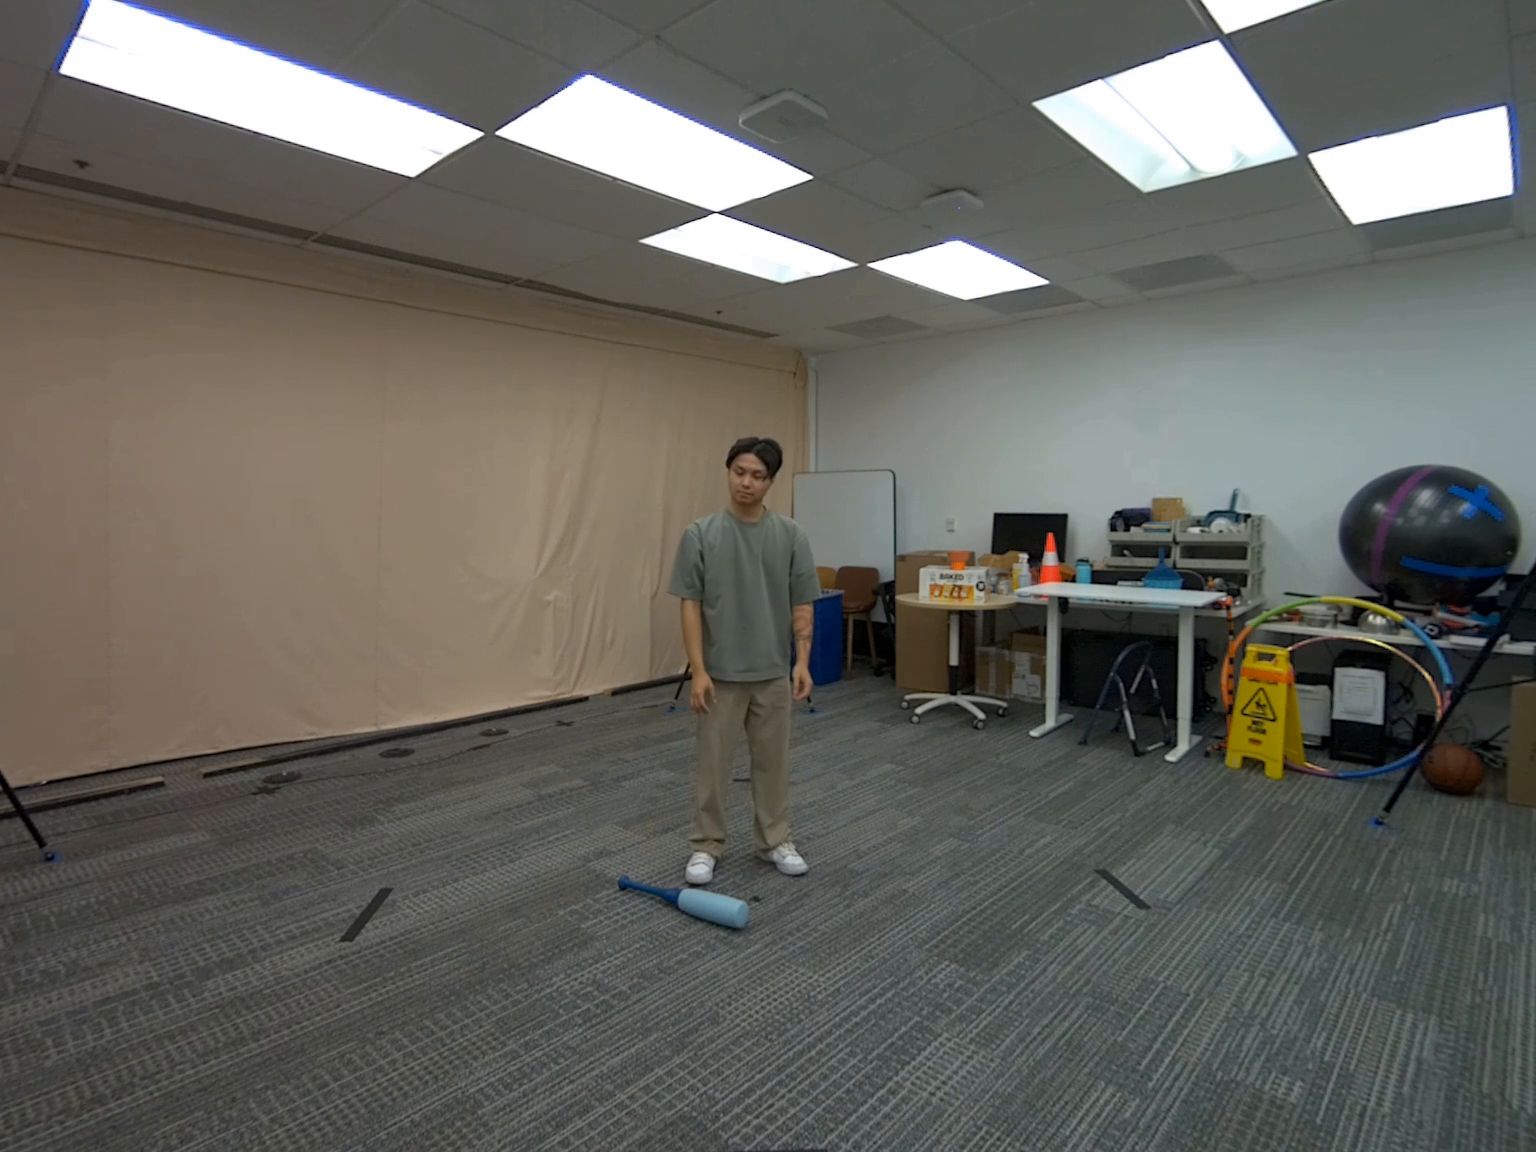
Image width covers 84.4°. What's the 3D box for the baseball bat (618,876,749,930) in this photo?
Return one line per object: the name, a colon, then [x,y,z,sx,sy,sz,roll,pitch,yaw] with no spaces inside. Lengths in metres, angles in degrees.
baseball bat: [-0.305,1.118,2.912,0.559,0.089,0.086,-2,2,35]
